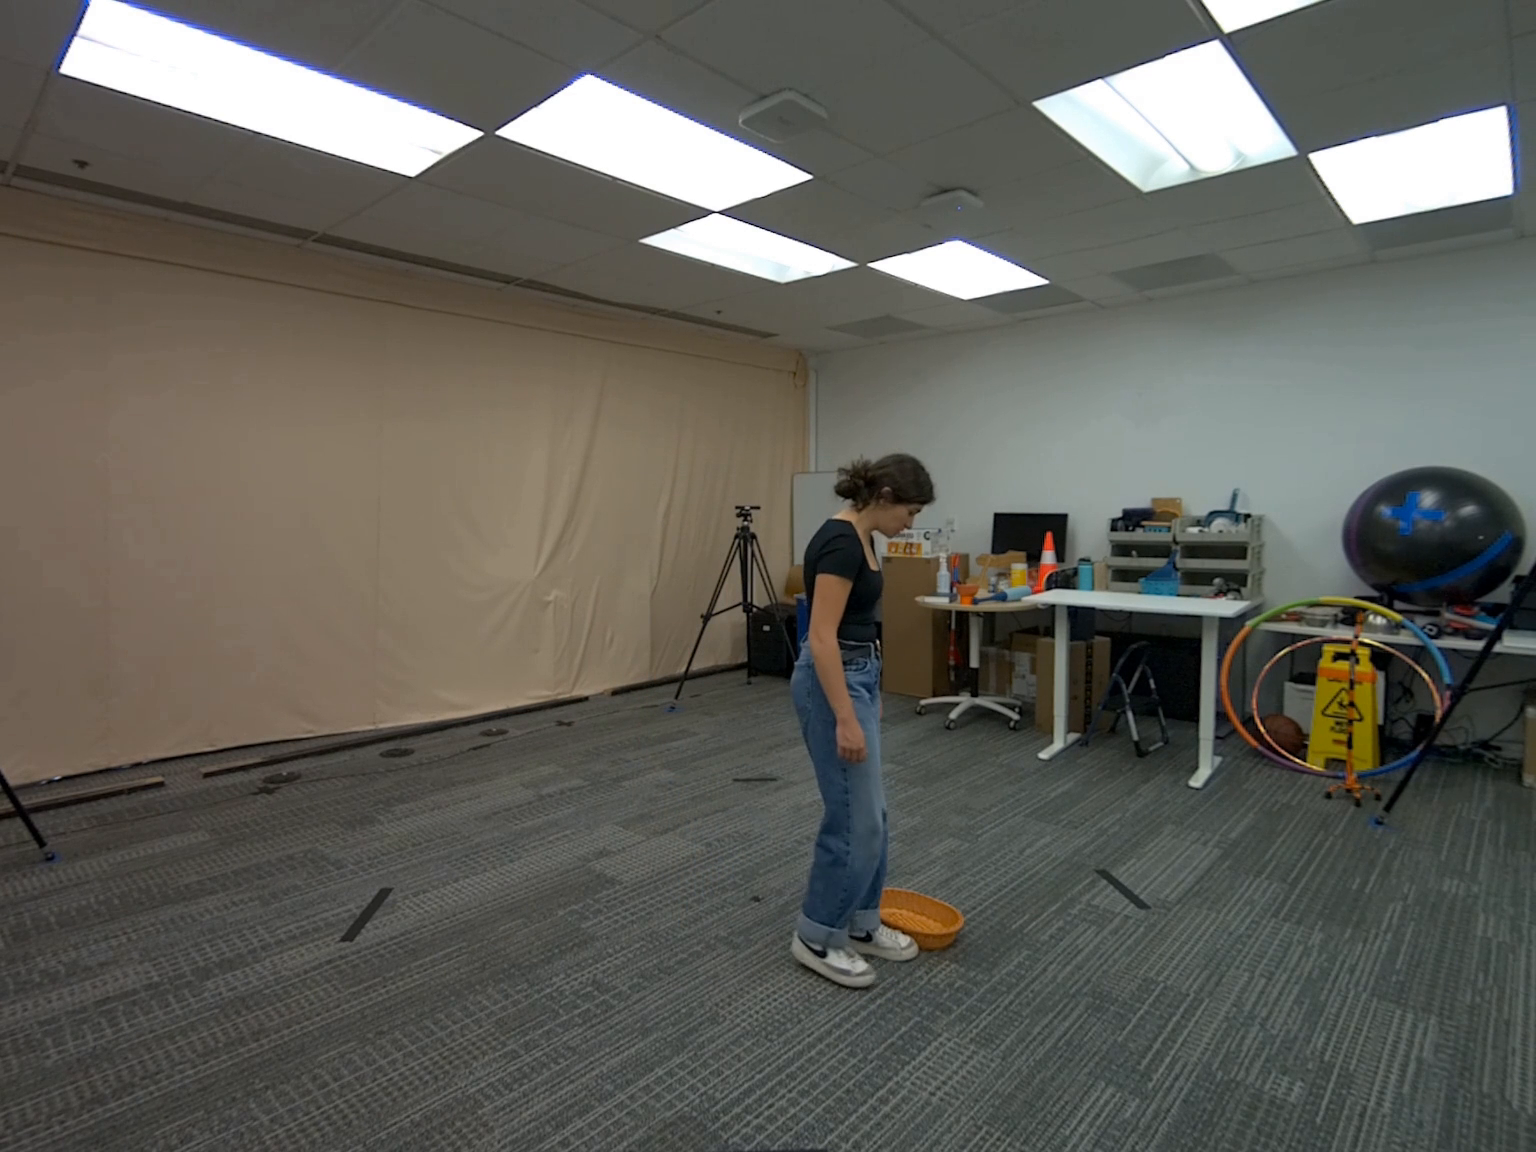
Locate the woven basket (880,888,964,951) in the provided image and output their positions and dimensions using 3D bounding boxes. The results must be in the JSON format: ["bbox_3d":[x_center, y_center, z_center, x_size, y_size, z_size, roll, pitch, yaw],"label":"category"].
[{"bbox_3d":[0.471,1.121,2.755,0.244,0.073,0.362,-4,5,-44],"label":"woven basket"}]
